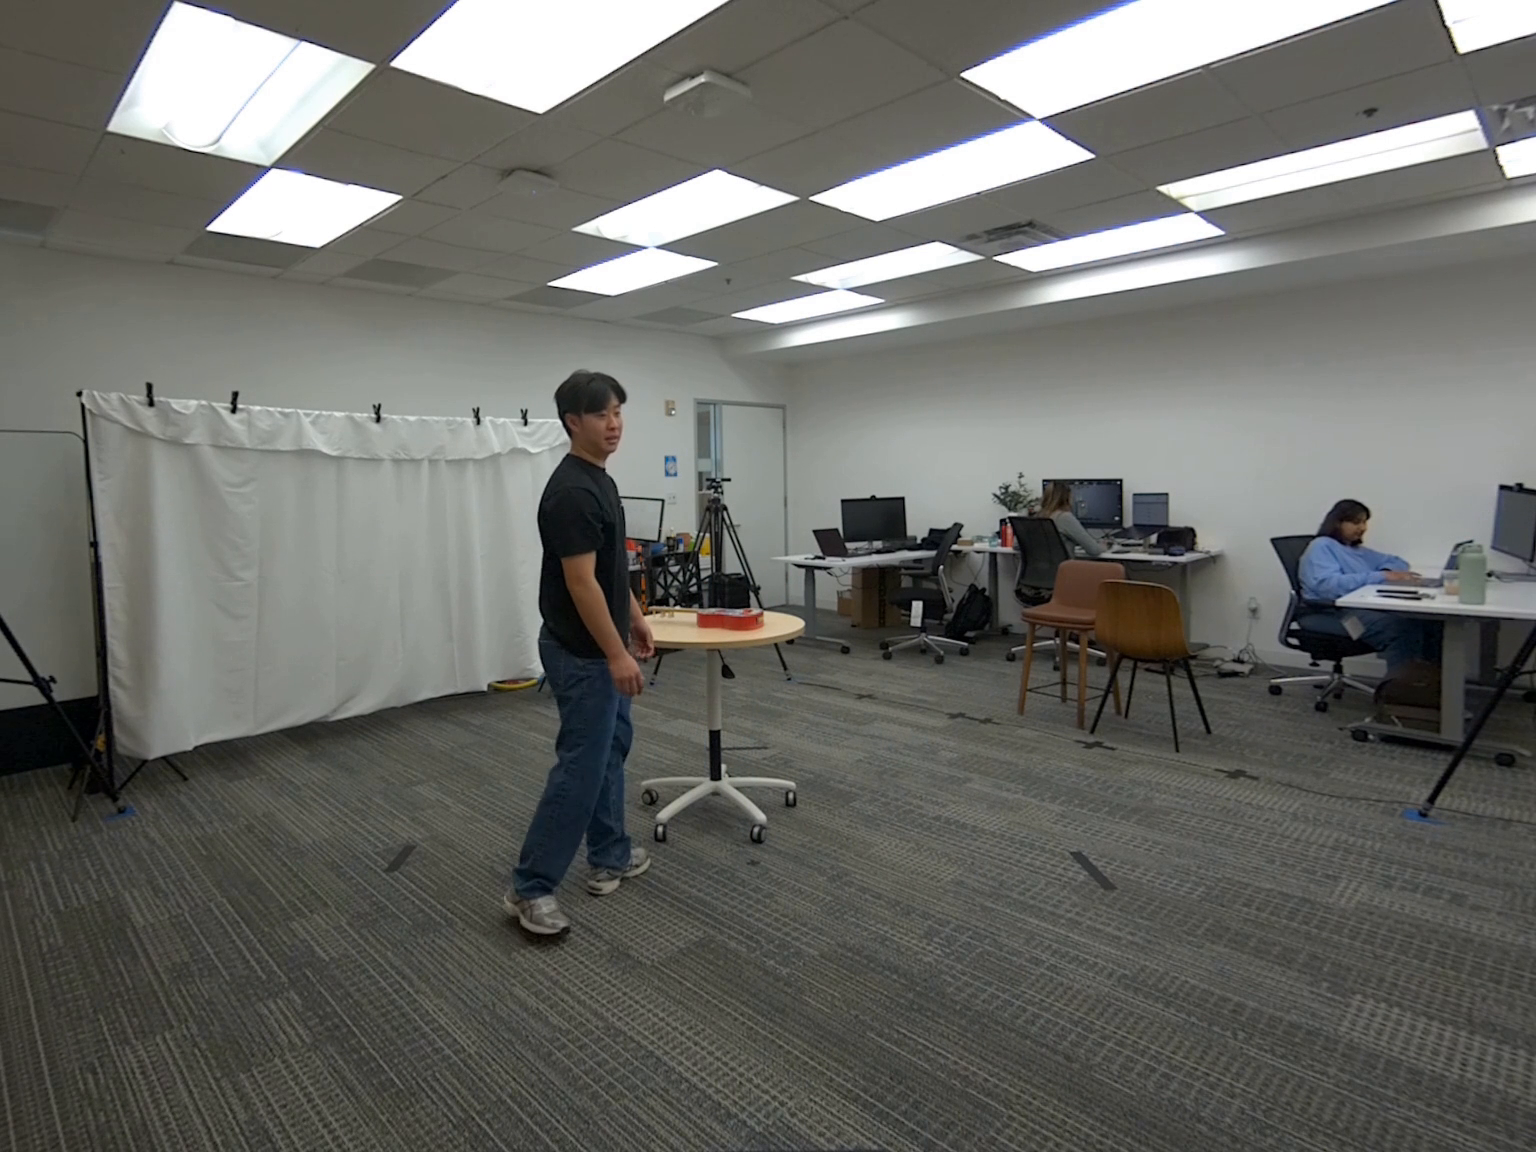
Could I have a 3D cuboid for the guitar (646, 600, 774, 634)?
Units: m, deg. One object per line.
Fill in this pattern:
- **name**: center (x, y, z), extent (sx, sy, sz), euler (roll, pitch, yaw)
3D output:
- **guitar**: center (-0.244, 0.165, 3.556), extent (0.511, 0.070, 0.189), euler (3, 8, 30)
